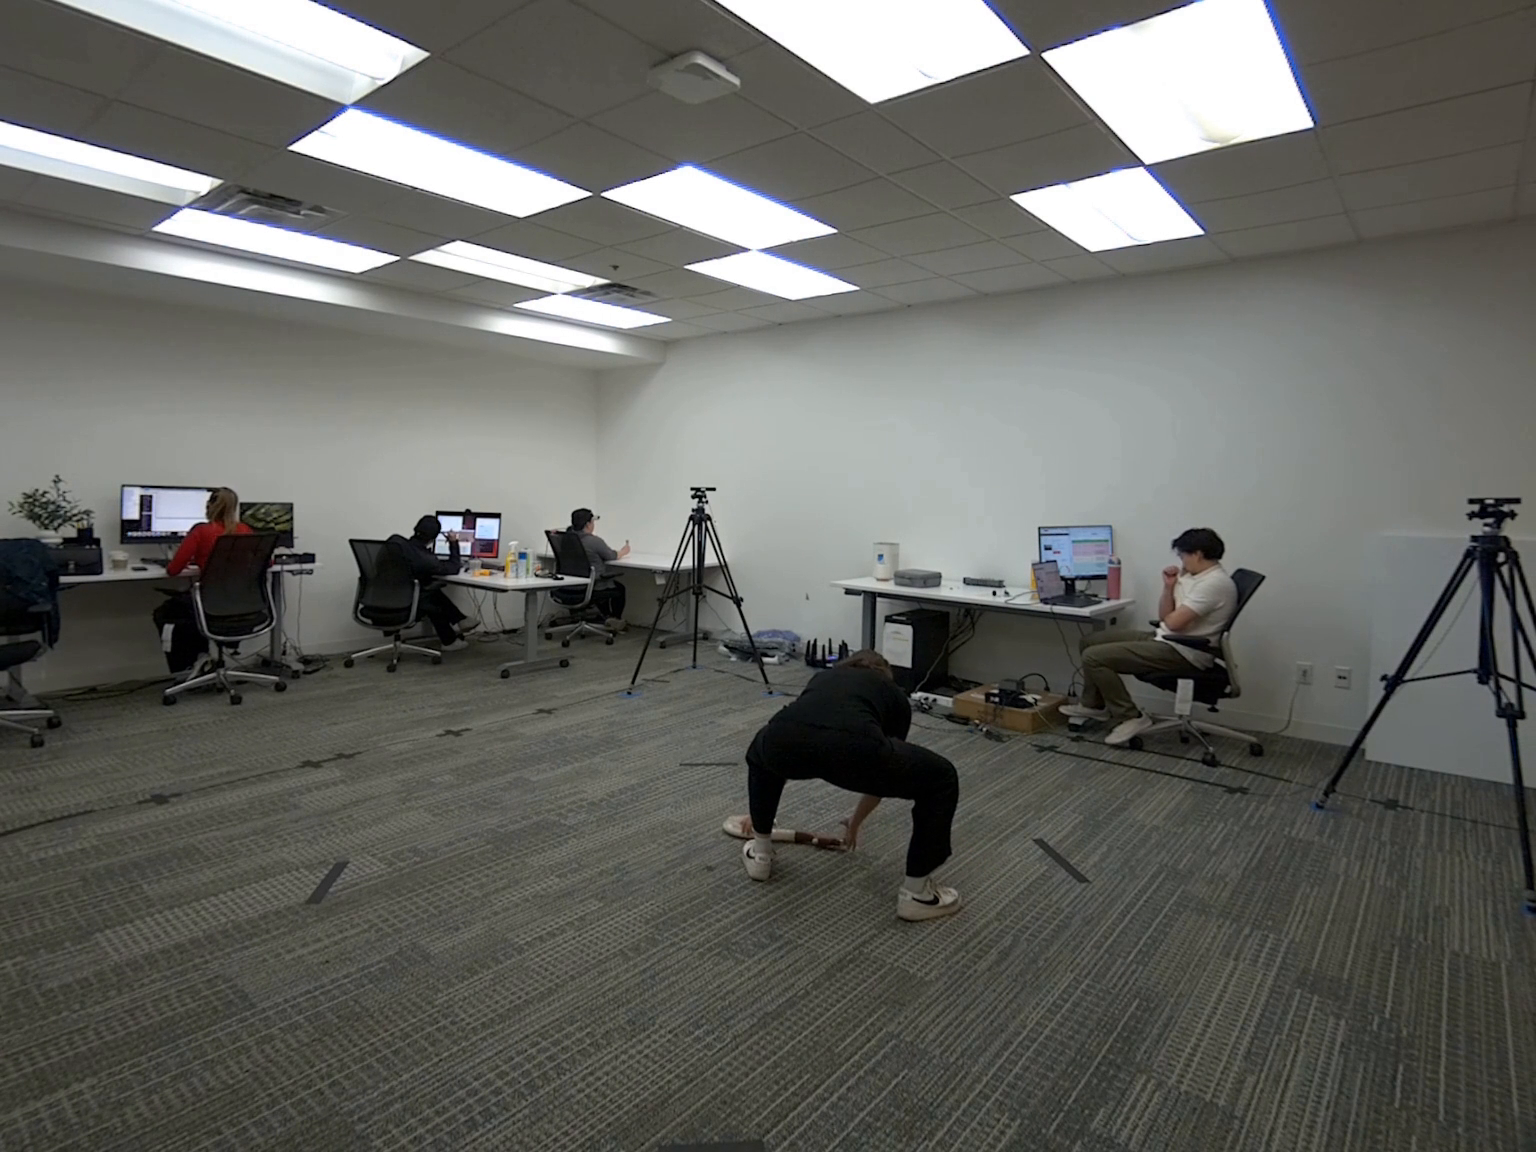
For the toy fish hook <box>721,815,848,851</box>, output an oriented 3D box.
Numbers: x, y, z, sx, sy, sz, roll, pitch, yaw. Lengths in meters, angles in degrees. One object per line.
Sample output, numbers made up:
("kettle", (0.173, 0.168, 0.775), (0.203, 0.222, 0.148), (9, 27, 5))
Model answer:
("toy fish hook", (0.070, 1.018, 3.422), (0.516, 0.048, 0.221), (3, 8, 17))
